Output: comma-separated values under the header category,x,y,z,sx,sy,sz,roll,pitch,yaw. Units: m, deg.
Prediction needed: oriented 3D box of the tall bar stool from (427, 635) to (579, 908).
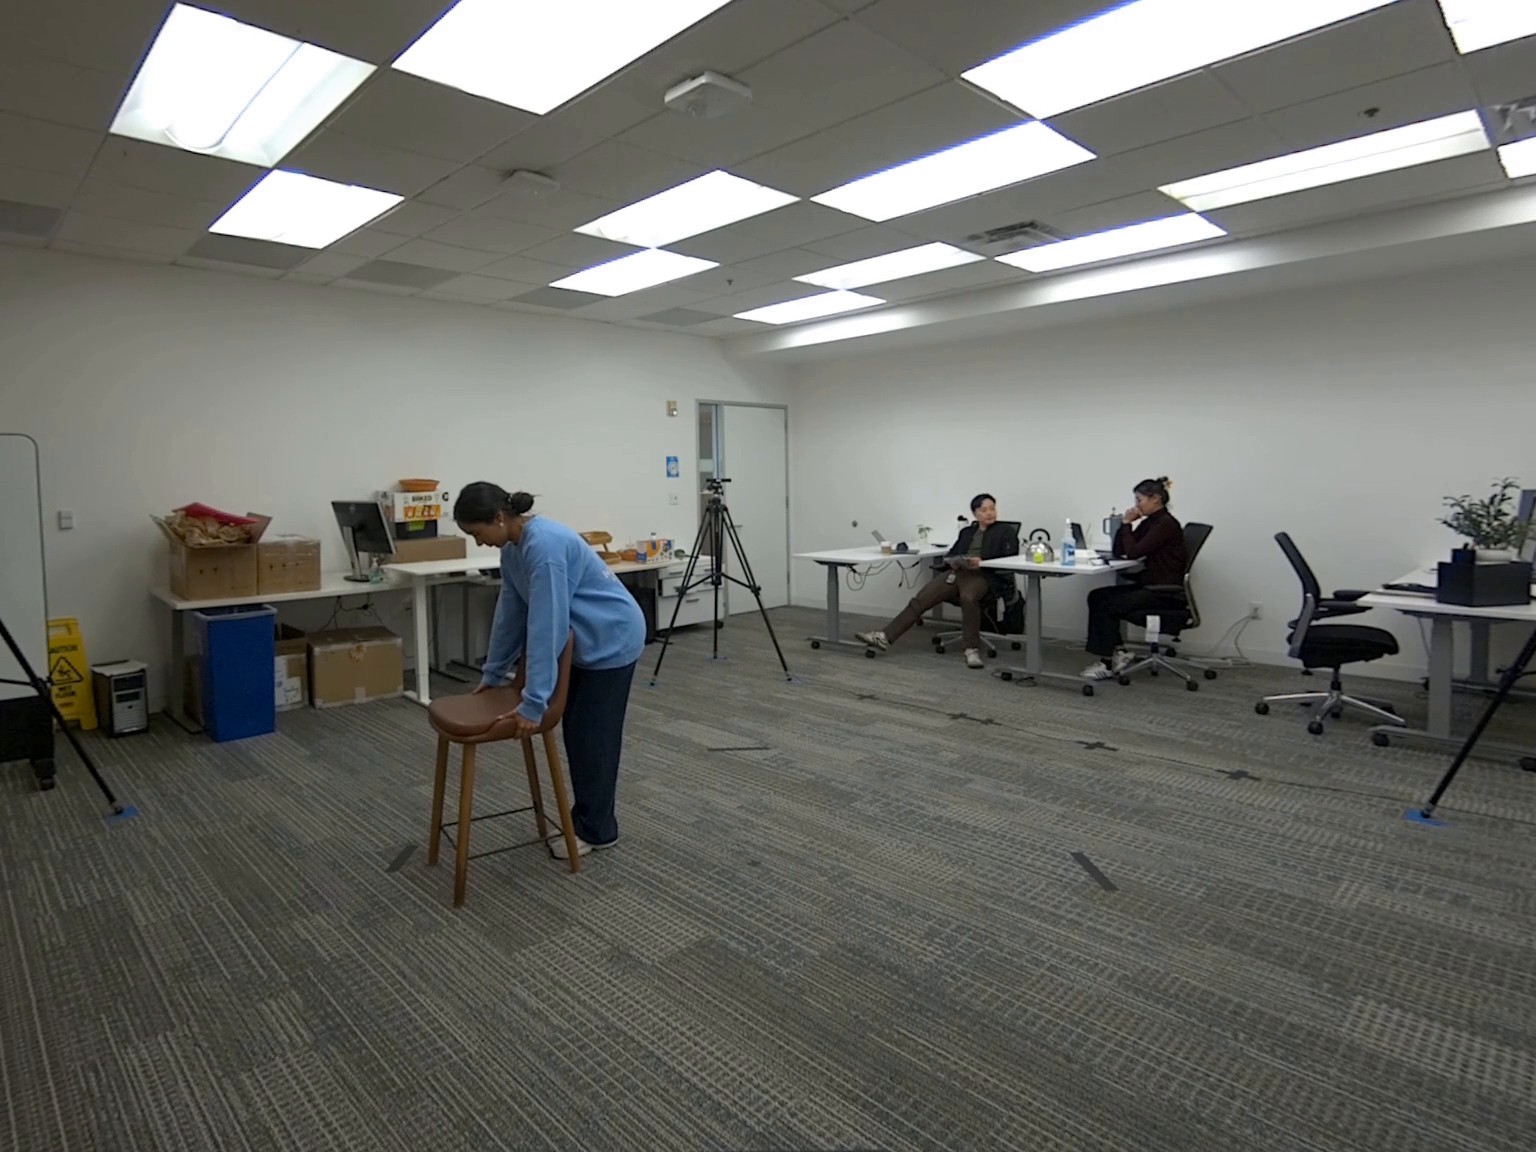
category,x,y,z,sx,sy,sz,roll,pitch,yaw
tall bar stool,-0.969,0.627,3.081,0.456,0.887,0.469,-2,4,-33
